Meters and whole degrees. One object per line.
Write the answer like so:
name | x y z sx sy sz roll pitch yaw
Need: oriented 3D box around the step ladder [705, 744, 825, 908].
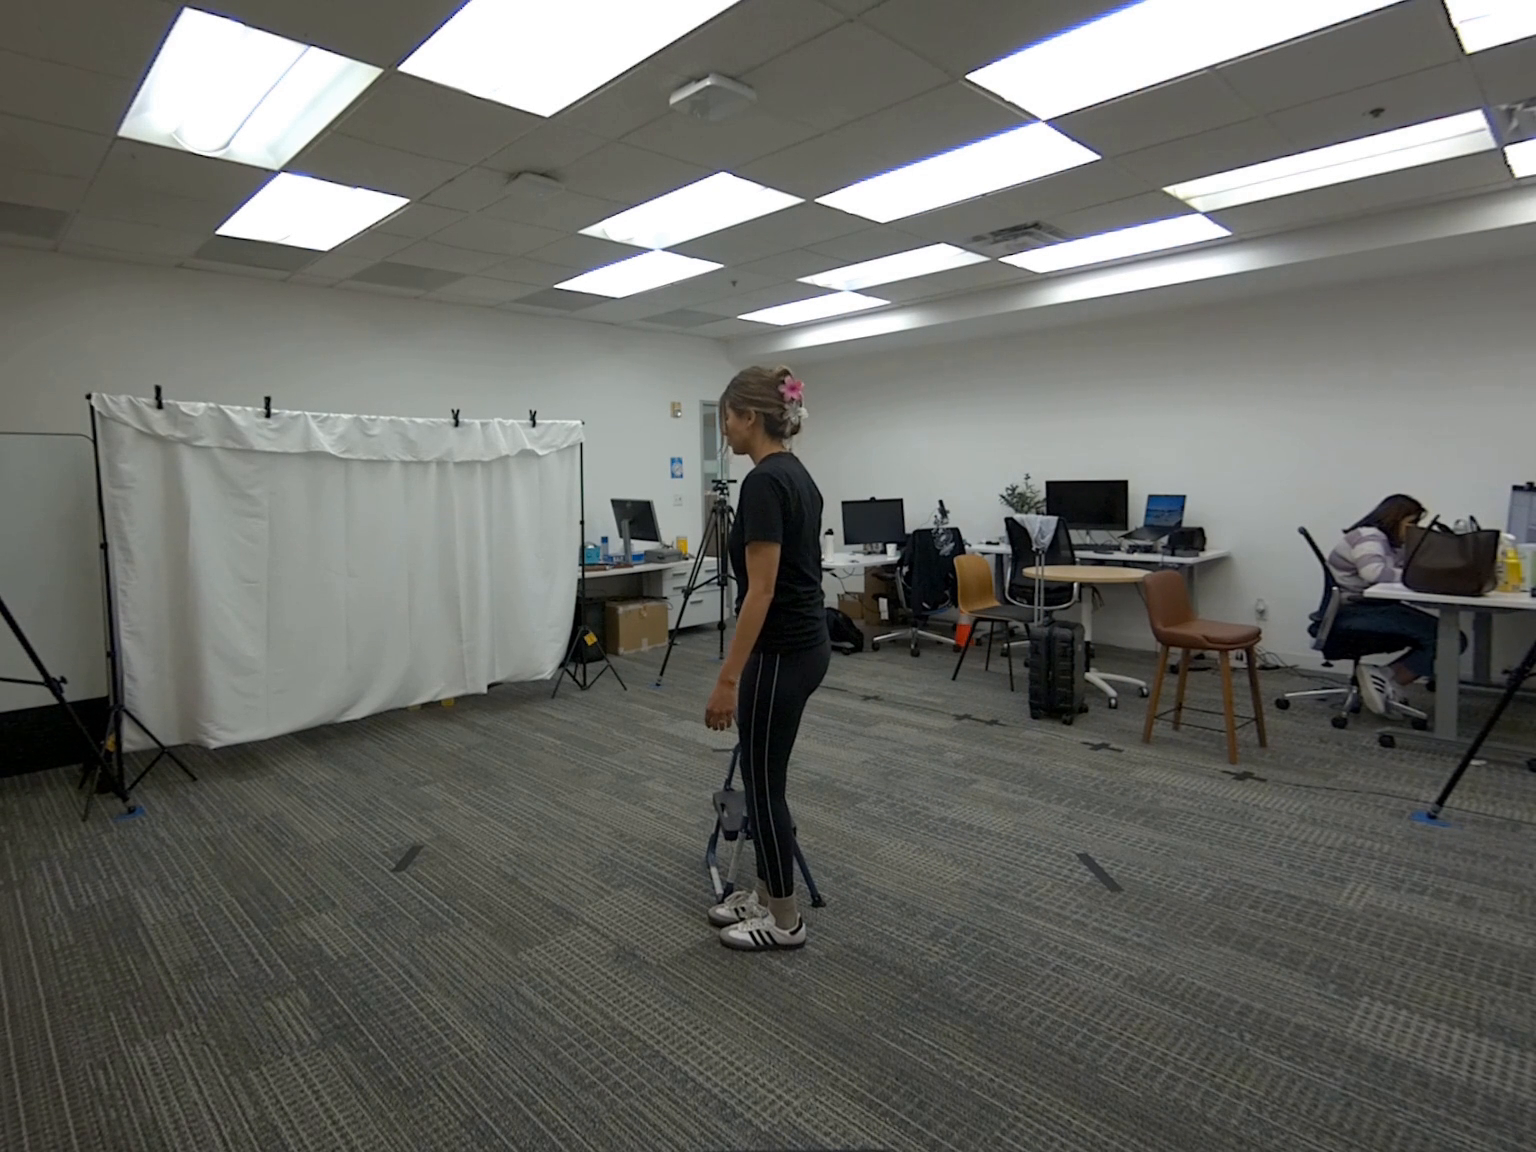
step ladder | -0.023 0.765 2.959 0.346 0.604 0.436 -1 4 -10
